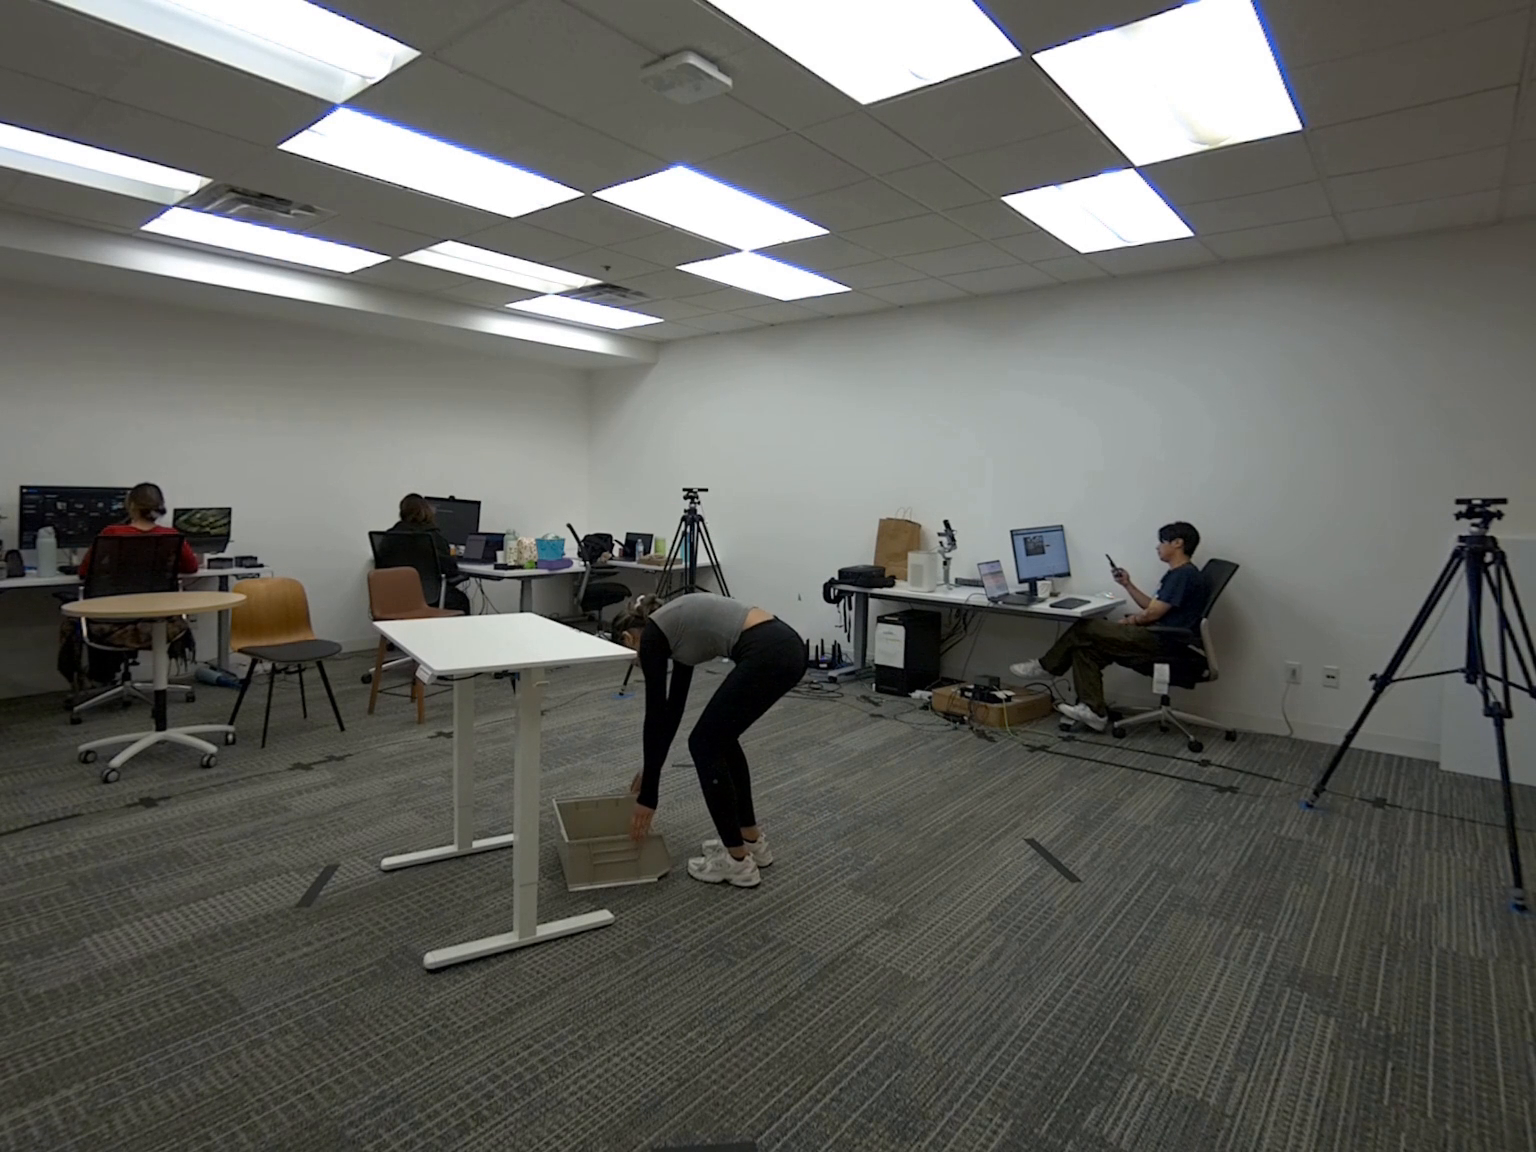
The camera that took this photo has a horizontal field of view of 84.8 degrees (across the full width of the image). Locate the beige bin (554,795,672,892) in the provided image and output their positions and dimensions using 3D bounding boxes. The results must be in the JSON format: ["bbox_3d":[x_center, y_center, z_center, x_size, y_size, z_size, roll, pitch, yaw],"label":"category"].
[{"bbox_3d":[-0.596,0.967,3.150,0.370,0.188,0.433,-1,7,-20],"label":"beige bin"}]
